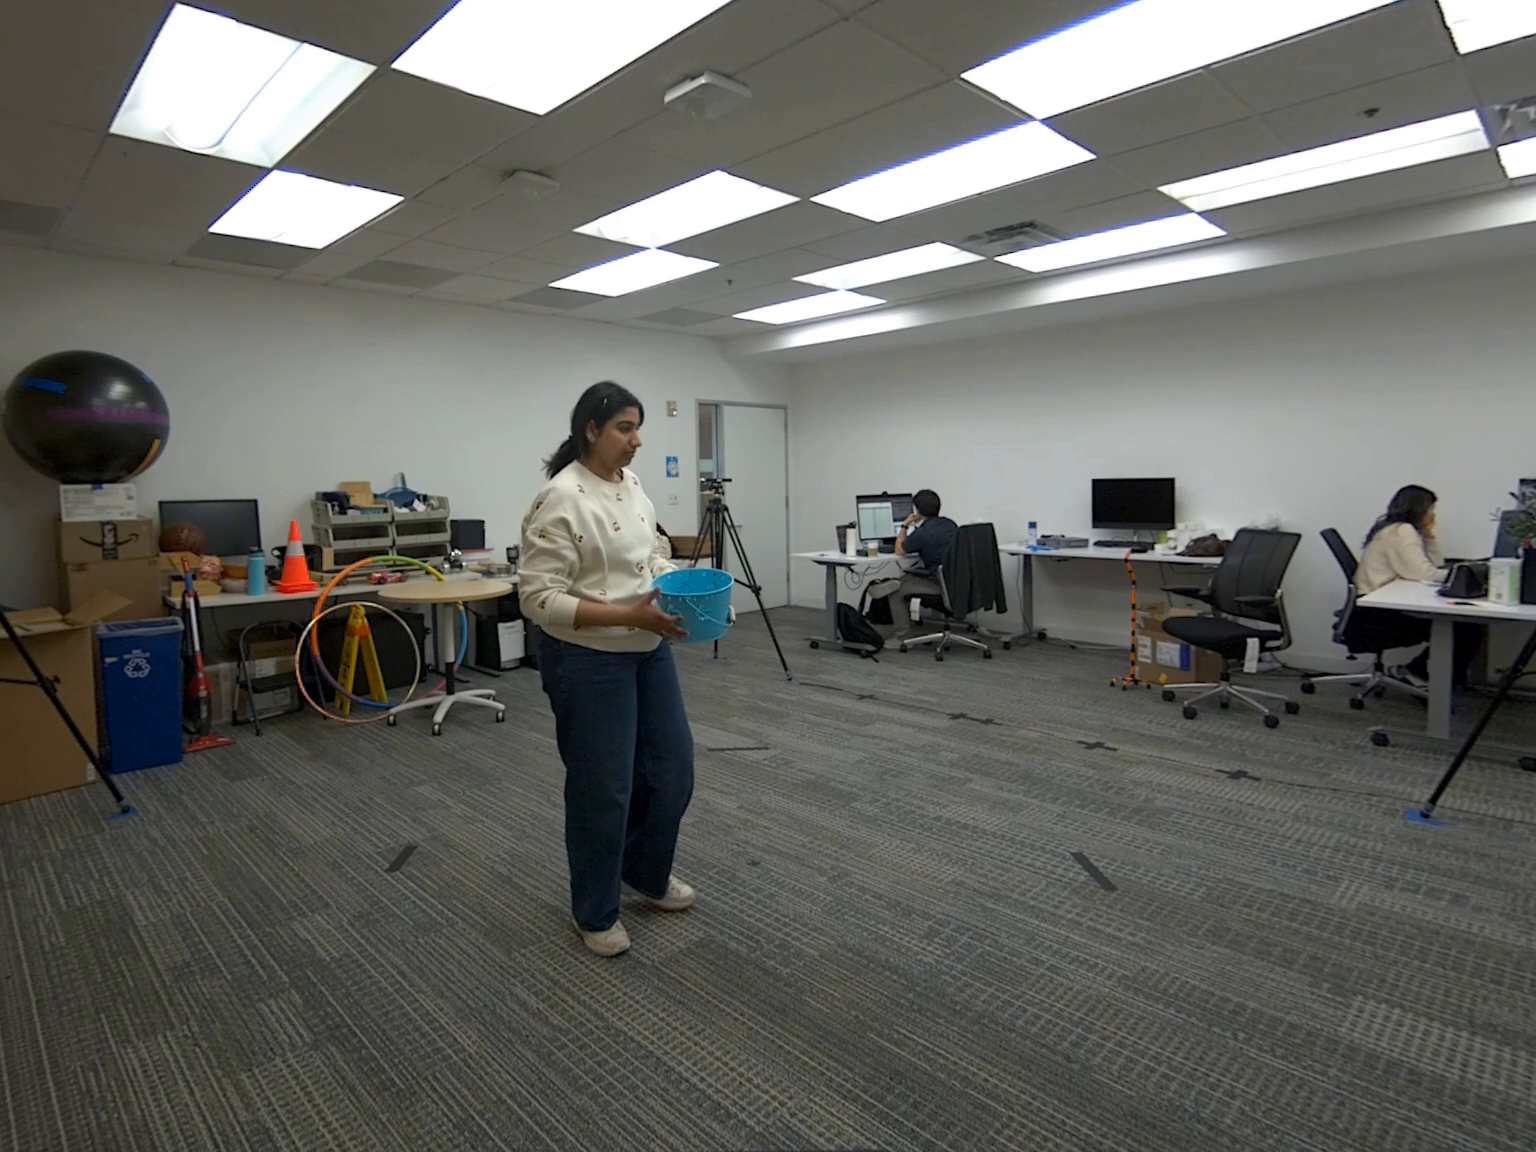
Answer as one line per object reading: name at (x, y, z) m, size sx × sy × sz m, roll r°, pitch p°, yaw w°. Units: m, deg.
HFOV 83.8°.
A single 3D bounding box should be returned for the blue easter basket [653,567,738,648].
blue easter basket at (-0.215, 0.084, 2.429) m, size 0.243 × 0.154 × 0.247 m, roll -2°, pitch 14°, yaw -1°
